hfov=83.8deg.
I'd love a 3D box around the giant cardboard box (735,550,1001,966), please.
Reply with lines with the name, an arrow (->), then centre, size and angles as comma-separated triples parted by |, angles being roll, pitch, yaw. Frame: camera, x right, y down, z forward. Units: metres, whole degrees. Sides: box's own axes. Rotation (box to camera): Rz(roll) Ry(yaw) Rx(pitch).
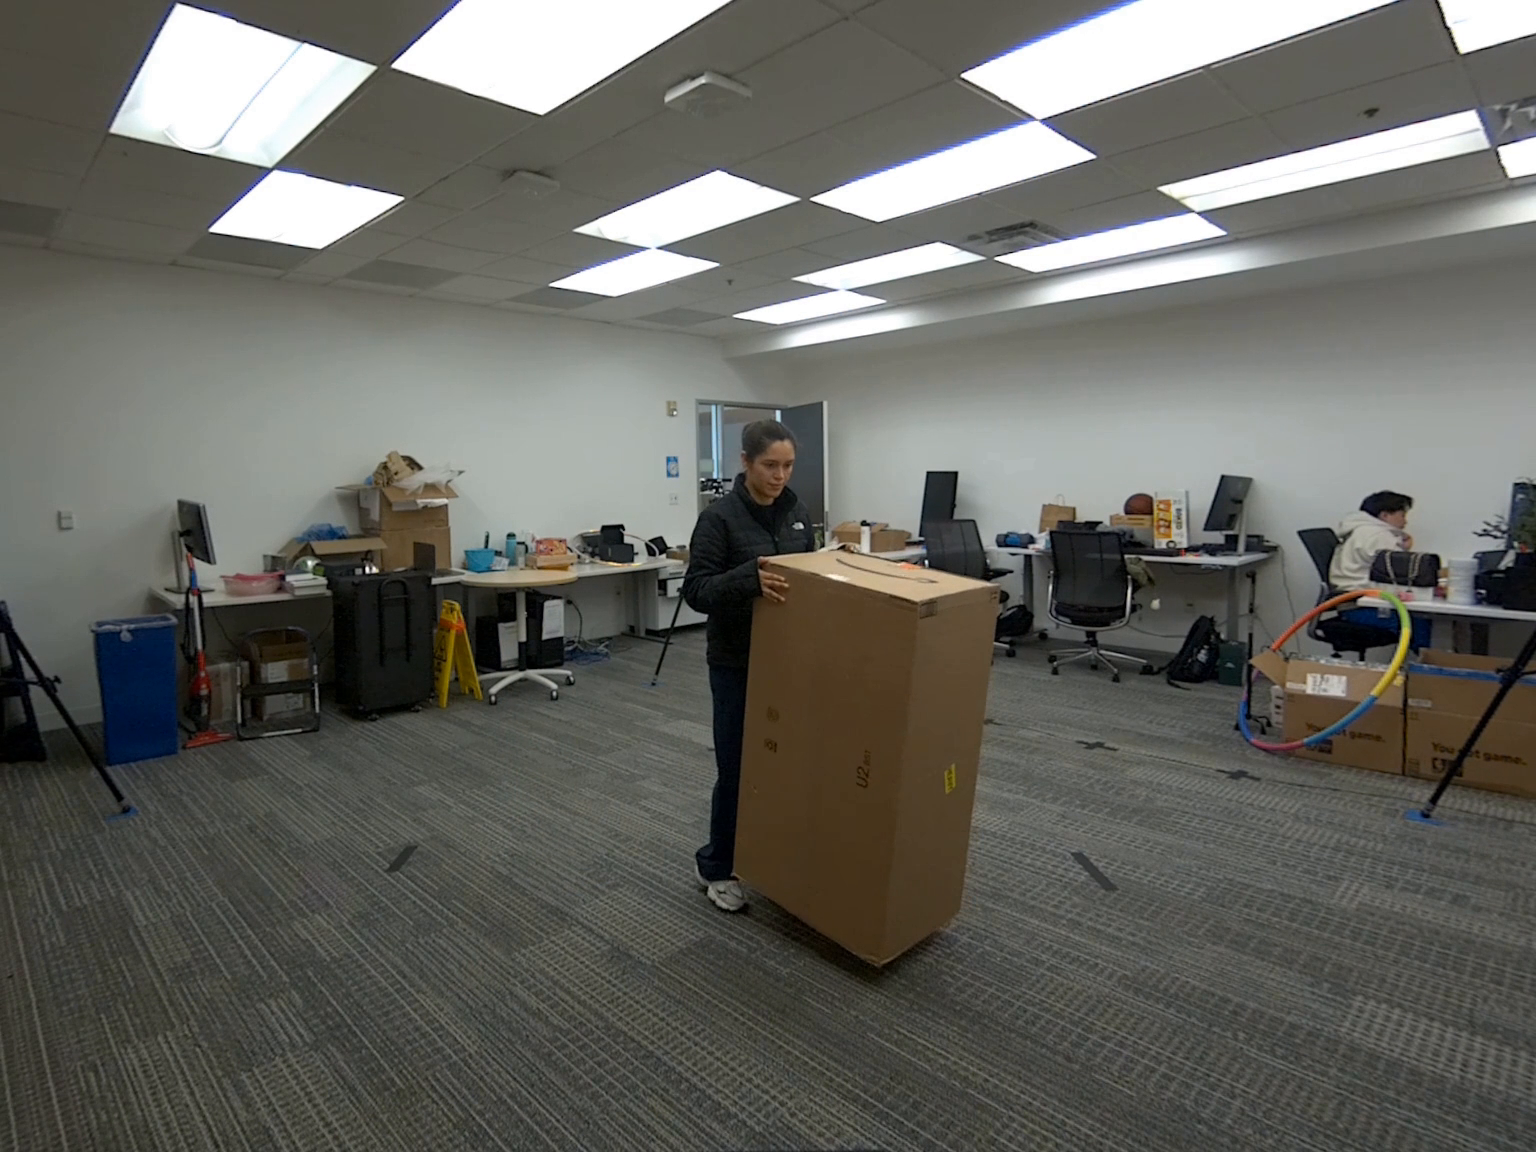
giant cardboard box -> 0.286, 0.491, 2.576 | 0.597, 1.018, 0.415 | 13, 13, 43
